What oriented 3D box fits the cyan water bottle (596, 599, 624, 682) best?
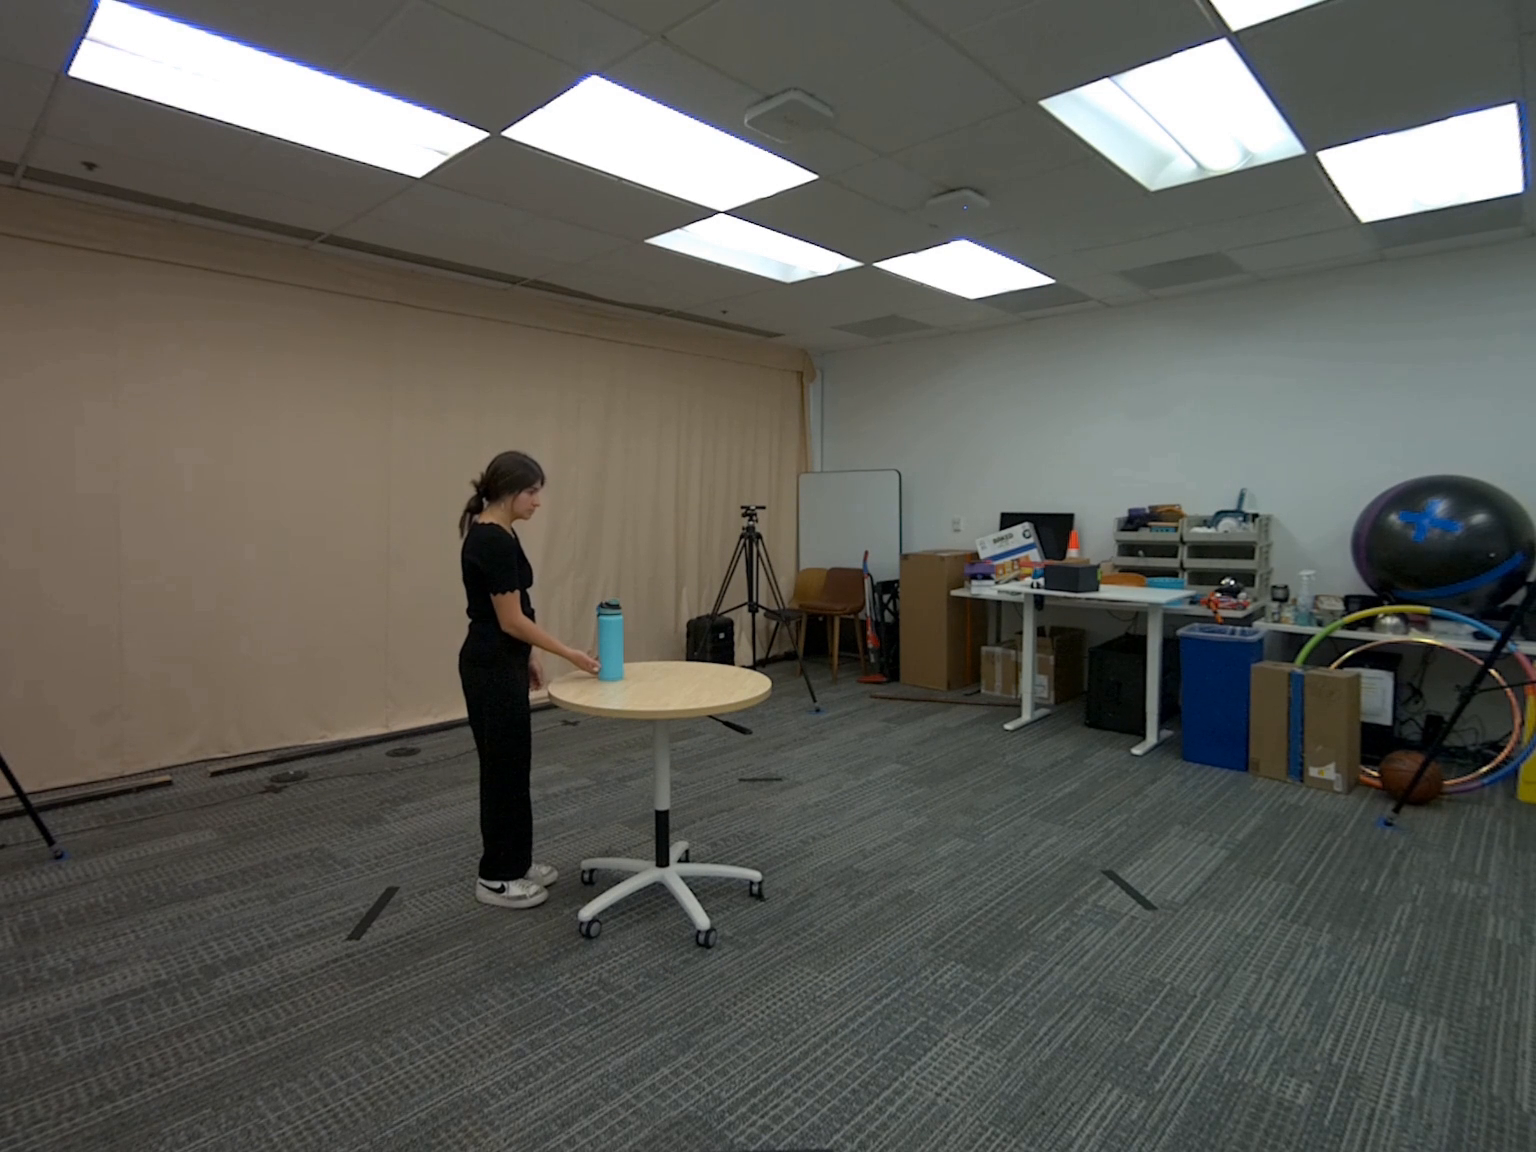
[{"bbox_3d":[-0.560,0.223,2.972,0.092,0.283,0.092,-2,1,-2],"label":"cyan water bottle"}]
